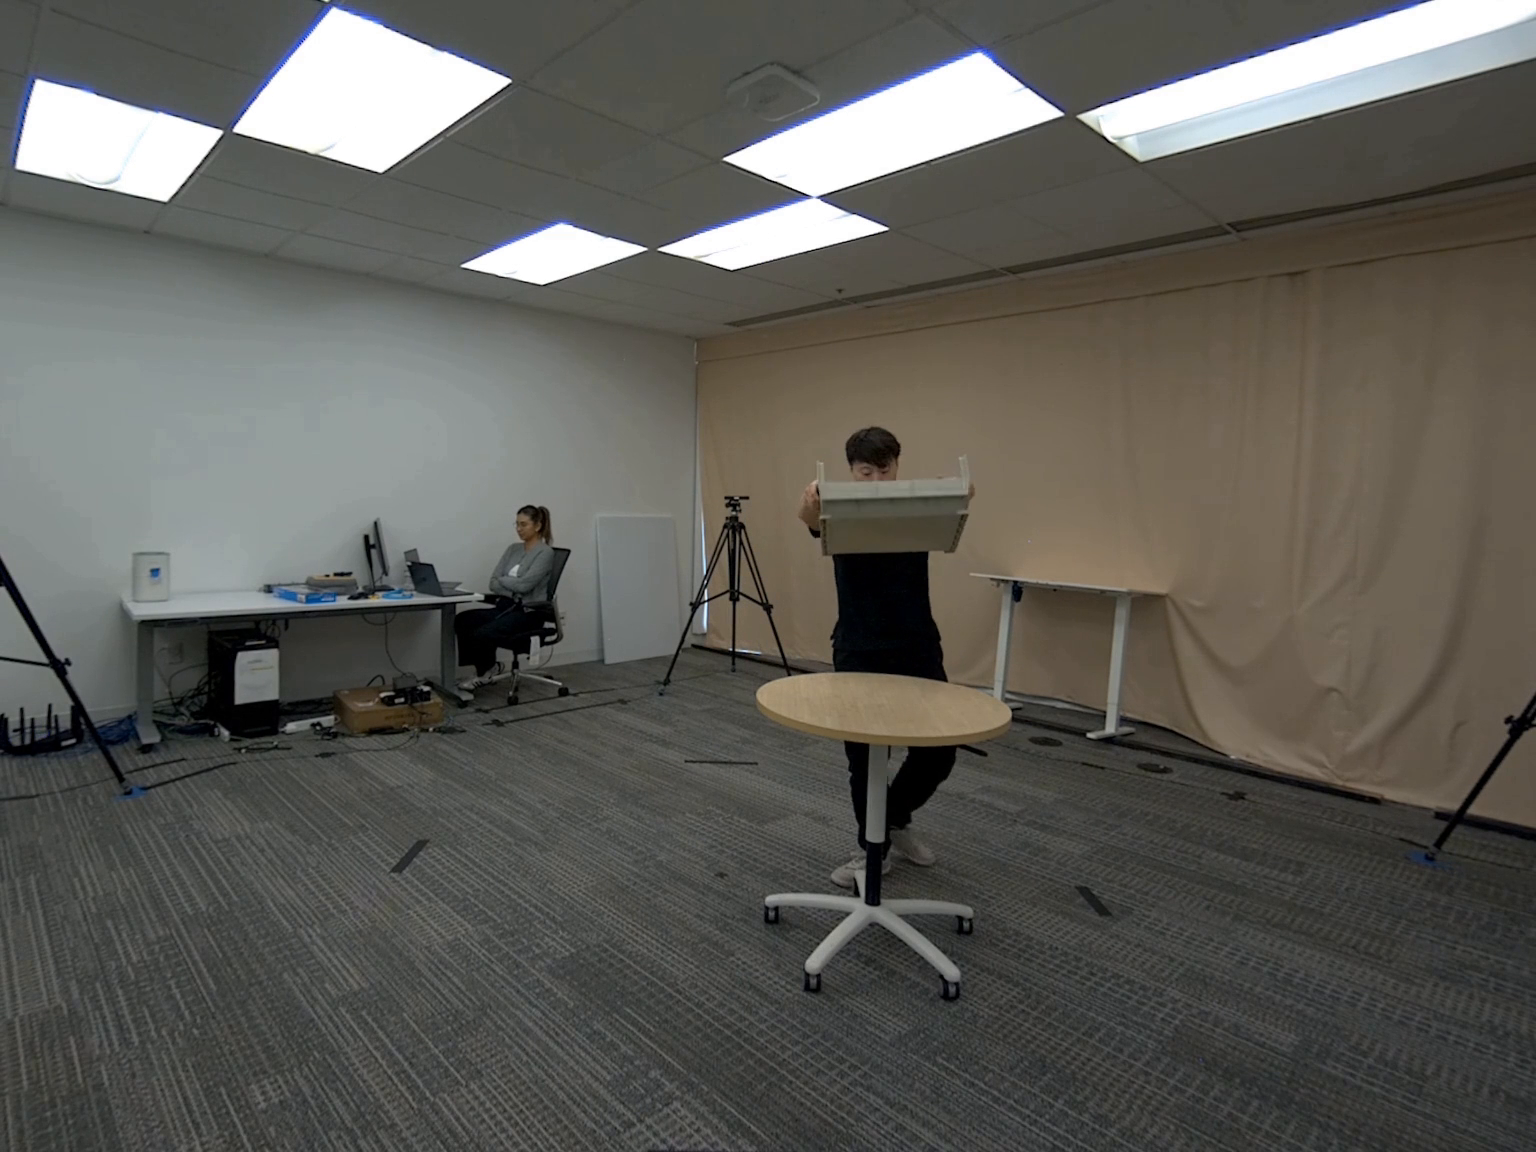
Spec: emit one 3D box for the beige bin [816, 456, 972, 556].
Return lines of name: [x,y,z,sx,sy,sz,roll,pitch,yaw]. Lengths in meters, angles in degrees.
beige bin: [0.356,-0.192,2.521,0.424,0.191,0.370,1,-21,6]
